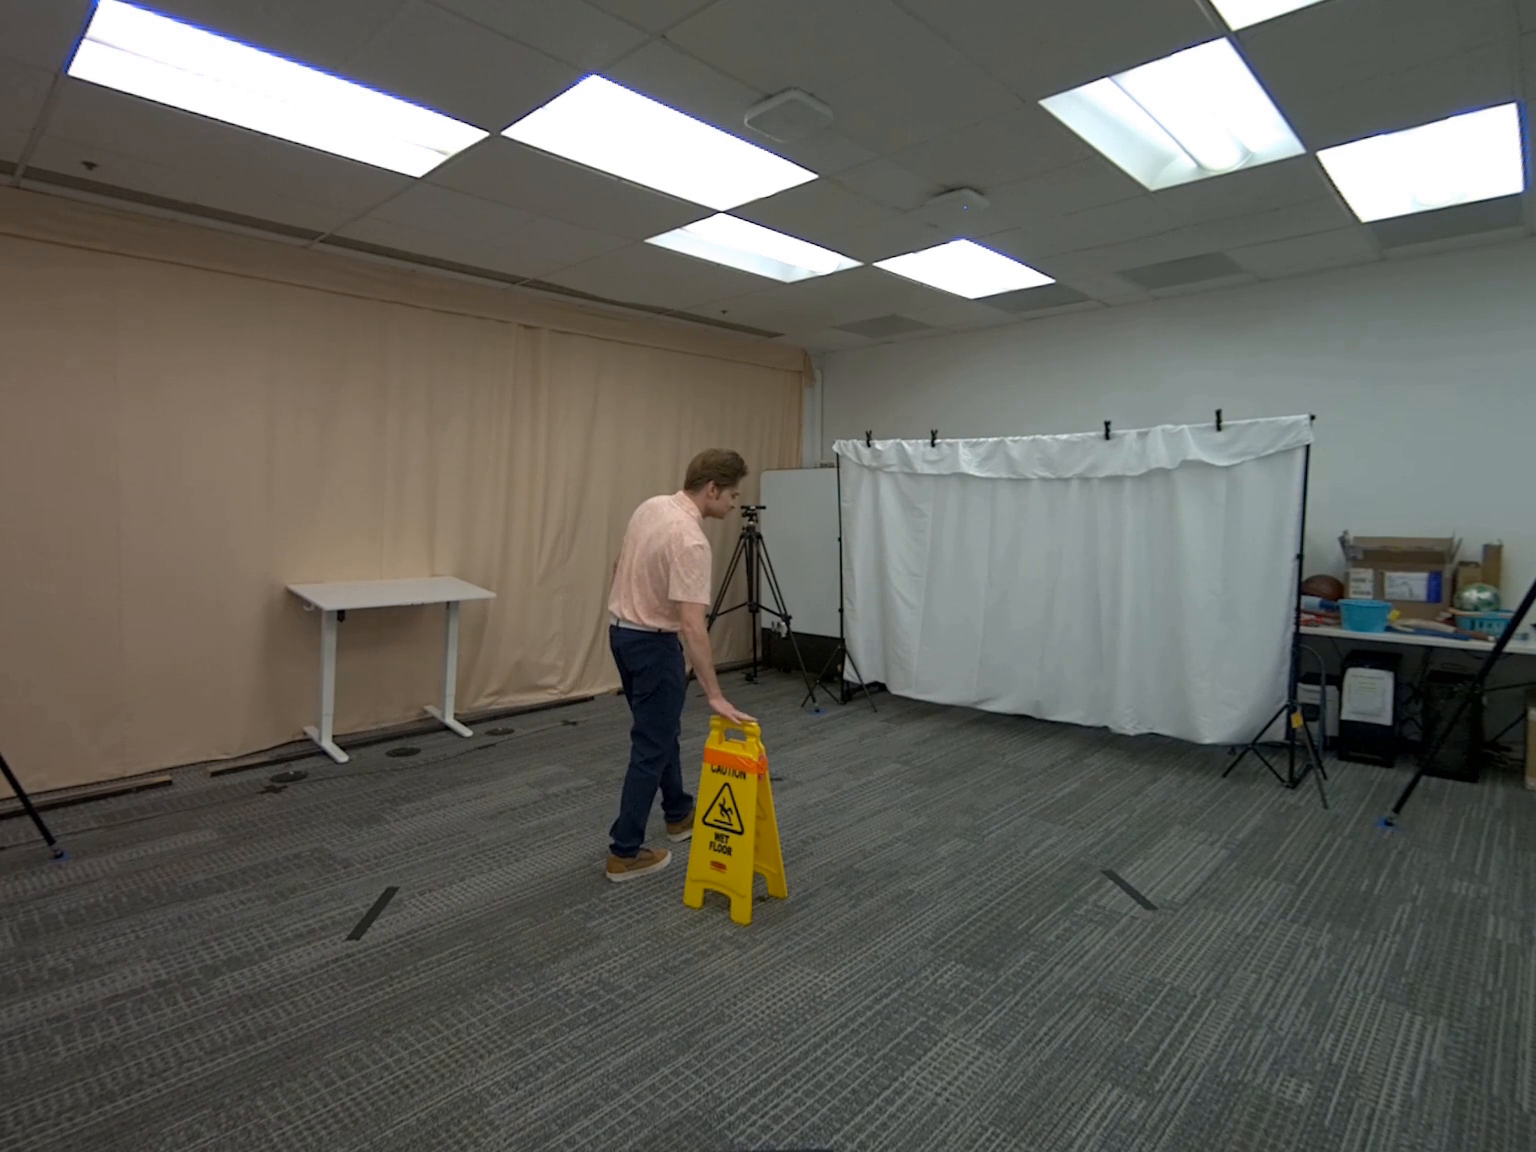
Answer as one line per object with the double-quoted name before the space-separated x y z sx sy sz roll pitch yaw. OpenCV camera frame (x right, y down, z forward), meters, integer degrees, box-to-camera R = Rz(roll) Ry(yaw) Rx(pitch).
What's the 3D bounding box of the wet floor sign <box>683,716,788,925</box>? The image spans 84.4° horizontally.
"wet floor sign" -0.109 0.822 2.956 0.291 0.645 0.281 3 4 35
